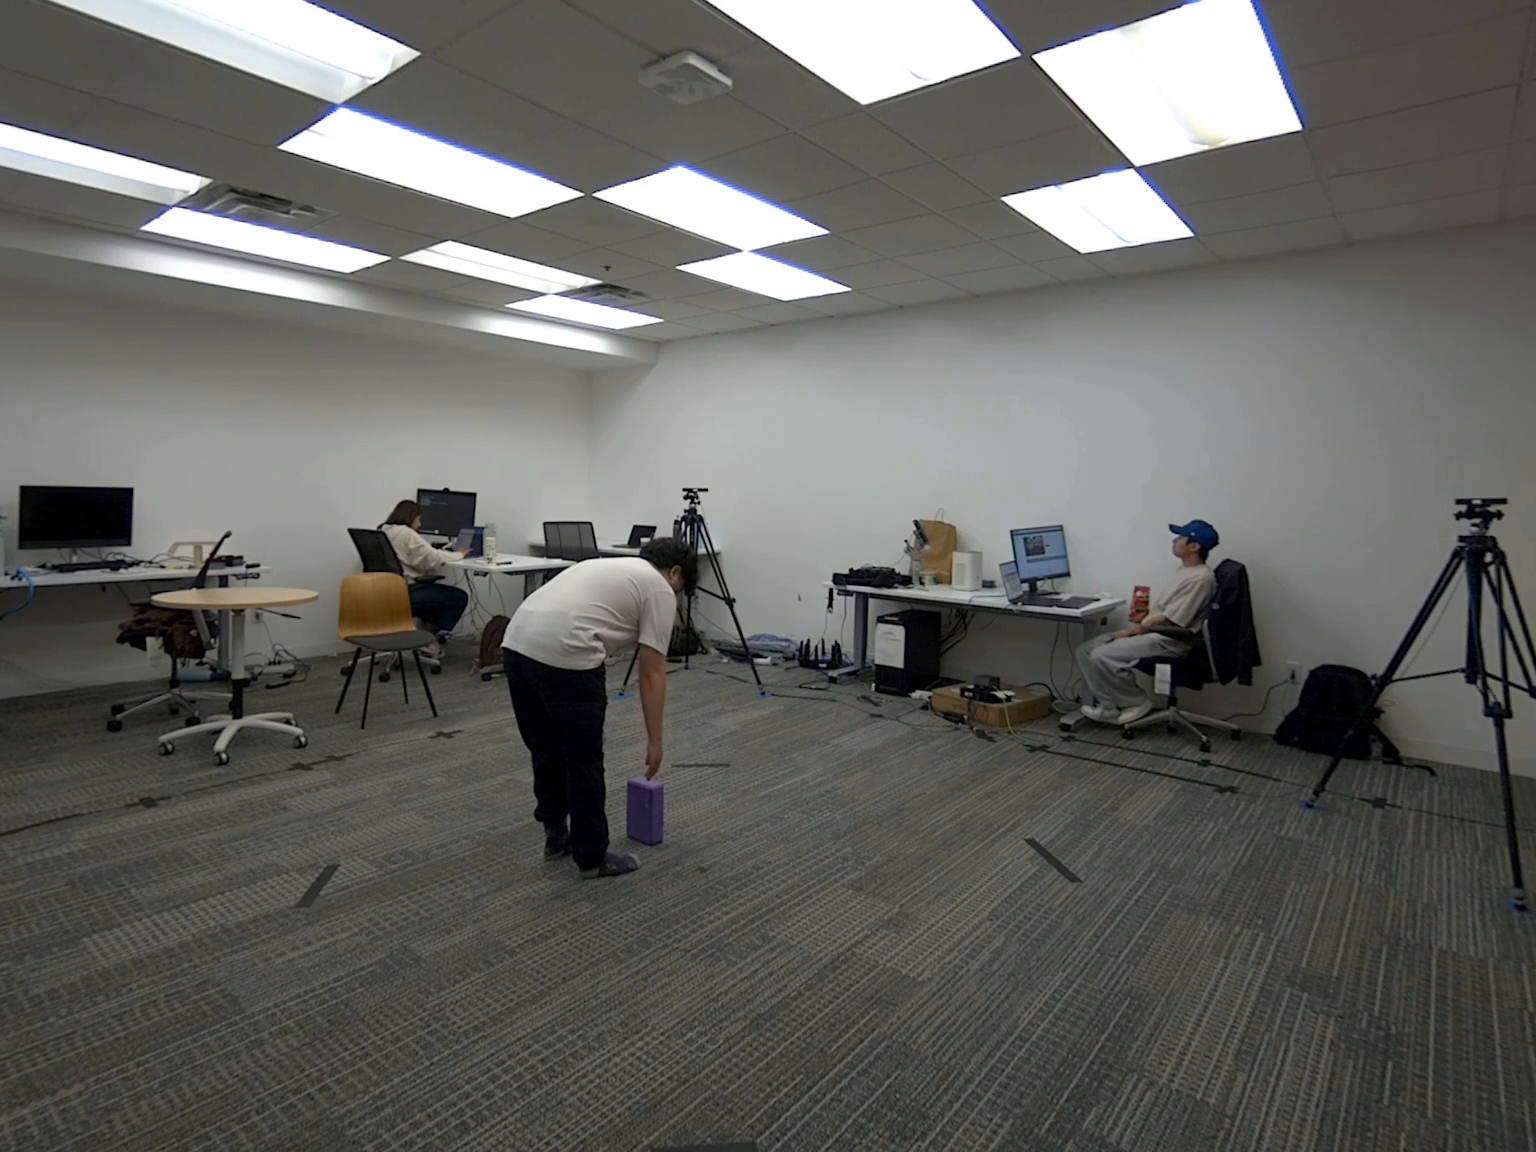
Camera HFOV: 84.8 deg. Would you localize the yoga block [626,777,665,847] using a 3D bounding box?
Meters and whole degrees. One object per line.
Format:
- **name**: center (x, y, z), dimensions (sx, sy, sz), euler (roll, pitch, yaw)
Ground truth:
- **yoga block**: center (-0.500, 0.926, 3.367), dimensions (0.154, 0.229, 0.074), euler (3, 4, 40)
